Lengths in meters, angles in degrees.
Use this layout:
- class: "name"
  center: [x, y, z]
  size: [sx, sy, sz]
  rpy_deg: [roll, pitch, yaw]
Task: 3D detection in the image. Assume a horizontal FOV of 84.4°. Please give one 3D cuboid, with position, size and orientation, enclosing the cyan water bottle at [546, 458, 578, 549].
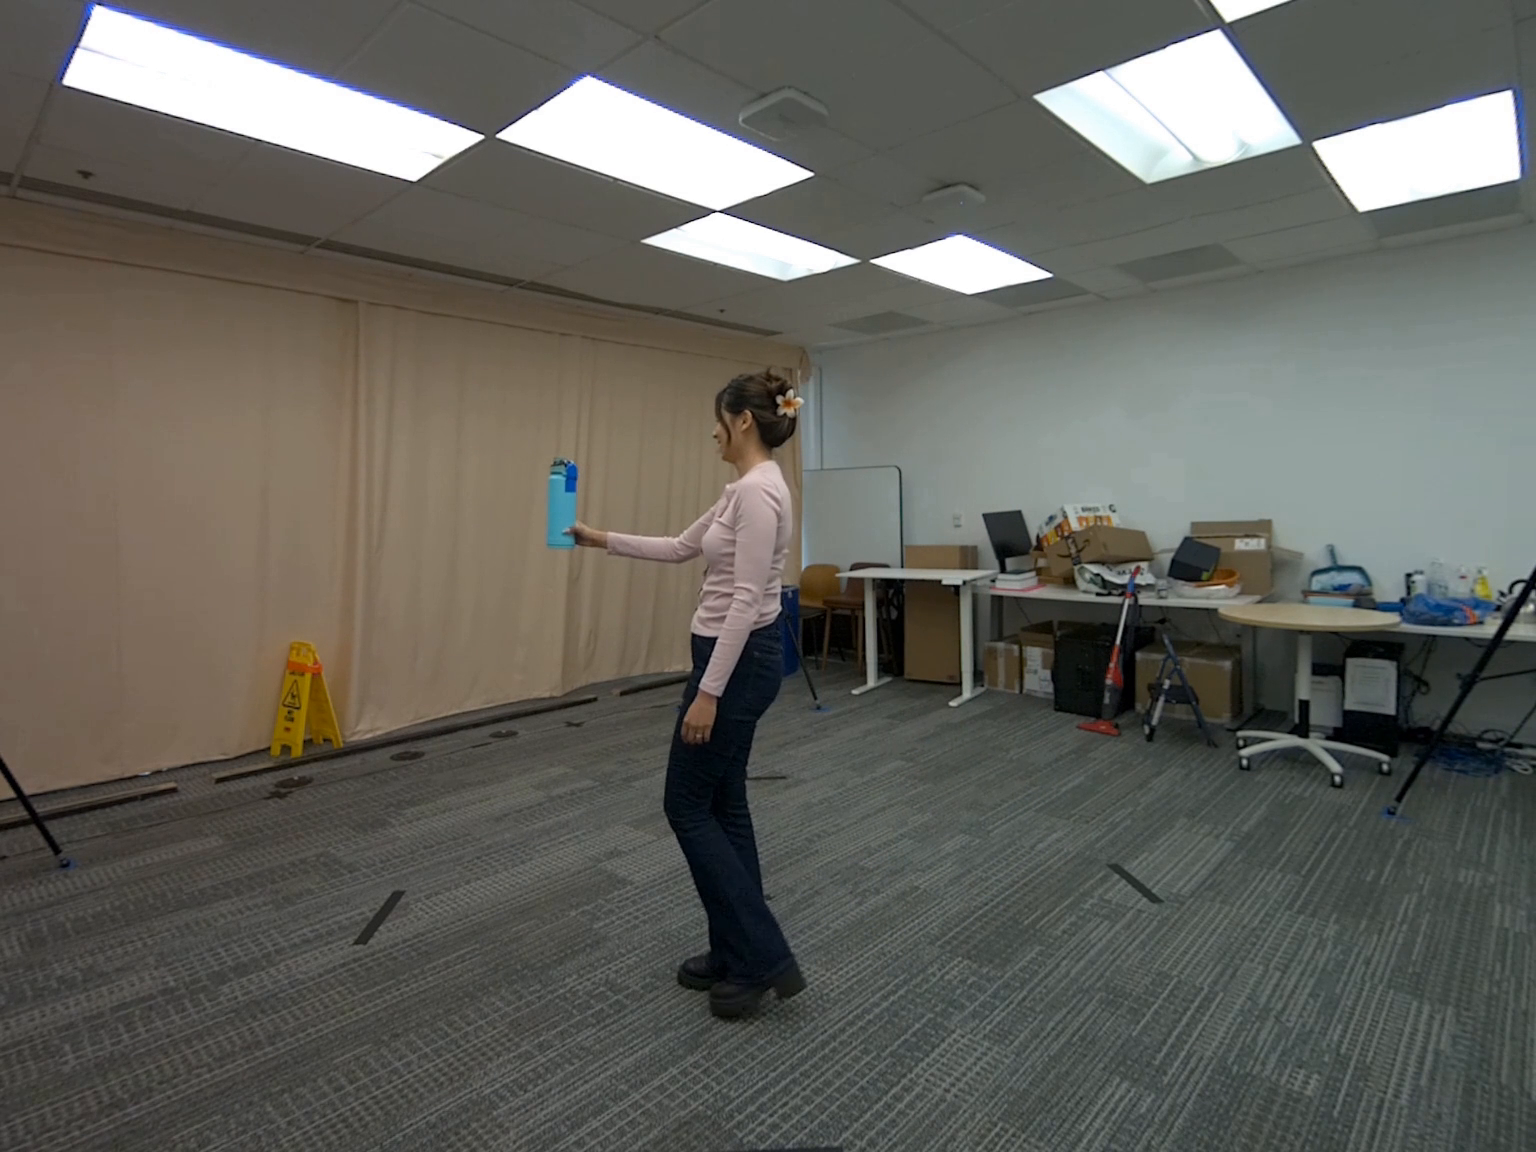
- class: "cyan water bottle"
  center: [-0.645, -0.234, 2.628]
  size: [0.092, 0.283, 0.092]
  rpy_deg: [2, 2, -2]
